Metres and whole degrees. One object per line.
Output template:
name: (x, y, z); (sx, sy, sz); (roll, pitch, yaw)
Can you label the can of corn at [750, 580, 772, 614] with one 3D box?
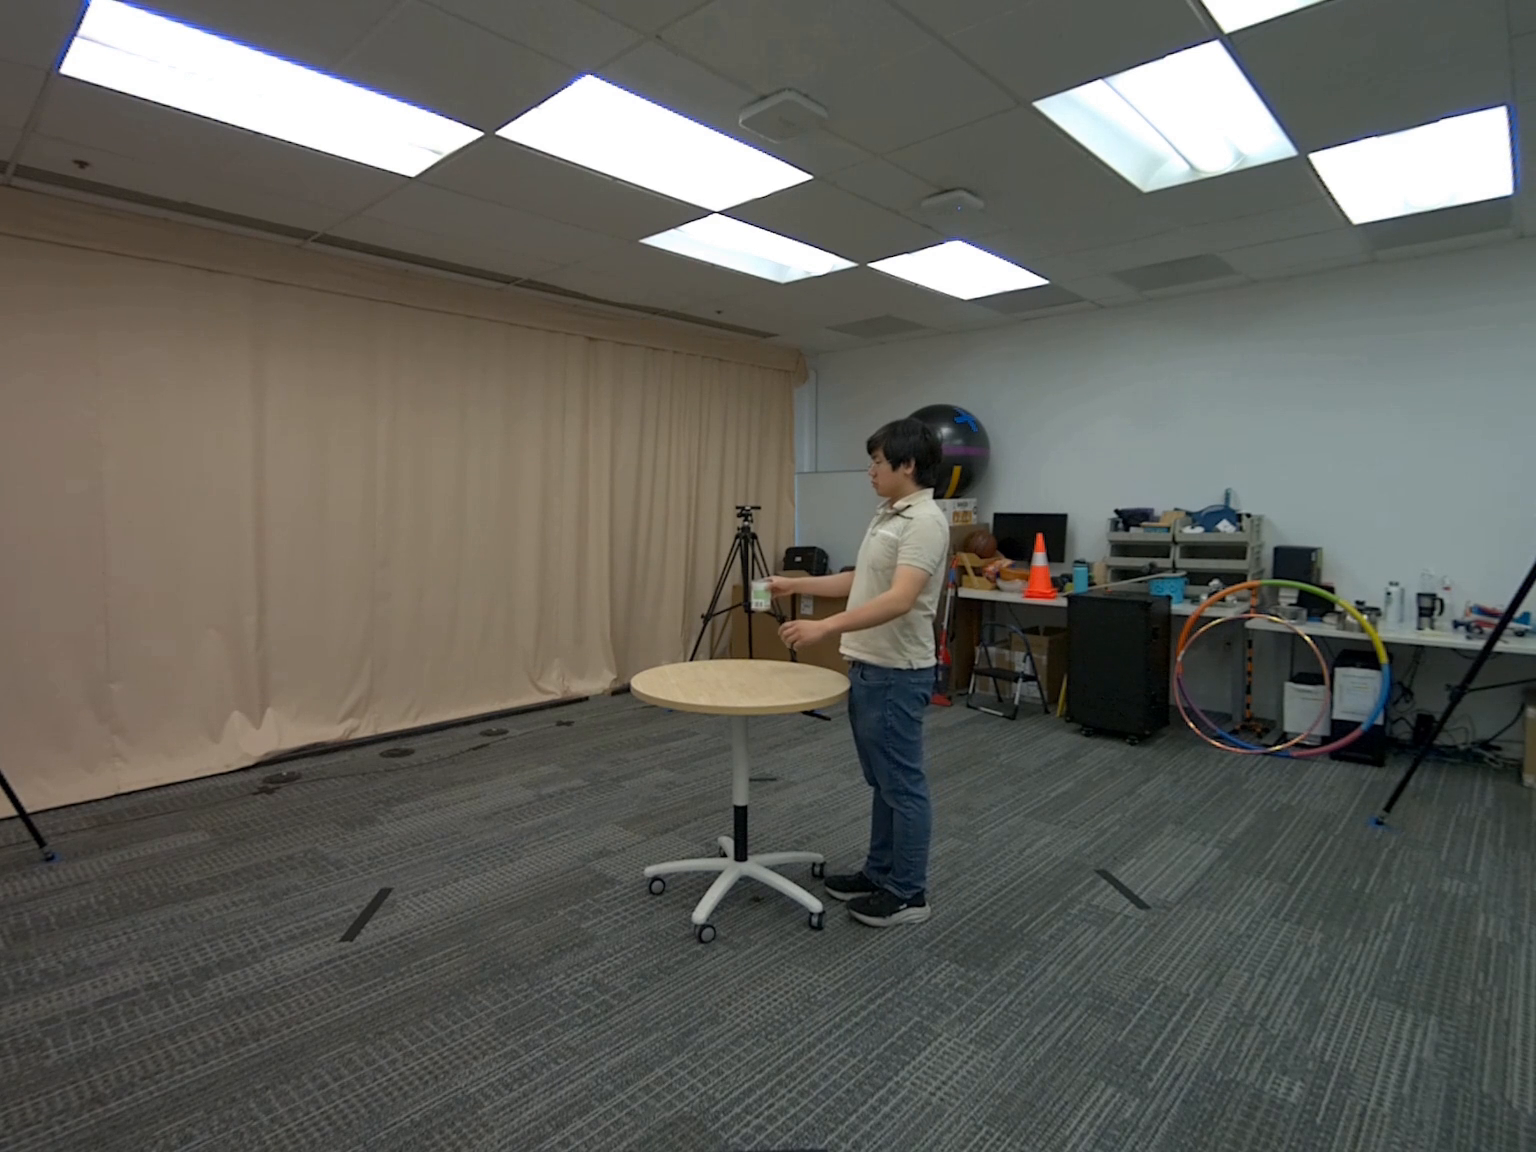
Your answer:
can of corn: (-0.021, 0.074, 3.138); (0.074, 0.111, 0.074); (-2, 1, -2)
